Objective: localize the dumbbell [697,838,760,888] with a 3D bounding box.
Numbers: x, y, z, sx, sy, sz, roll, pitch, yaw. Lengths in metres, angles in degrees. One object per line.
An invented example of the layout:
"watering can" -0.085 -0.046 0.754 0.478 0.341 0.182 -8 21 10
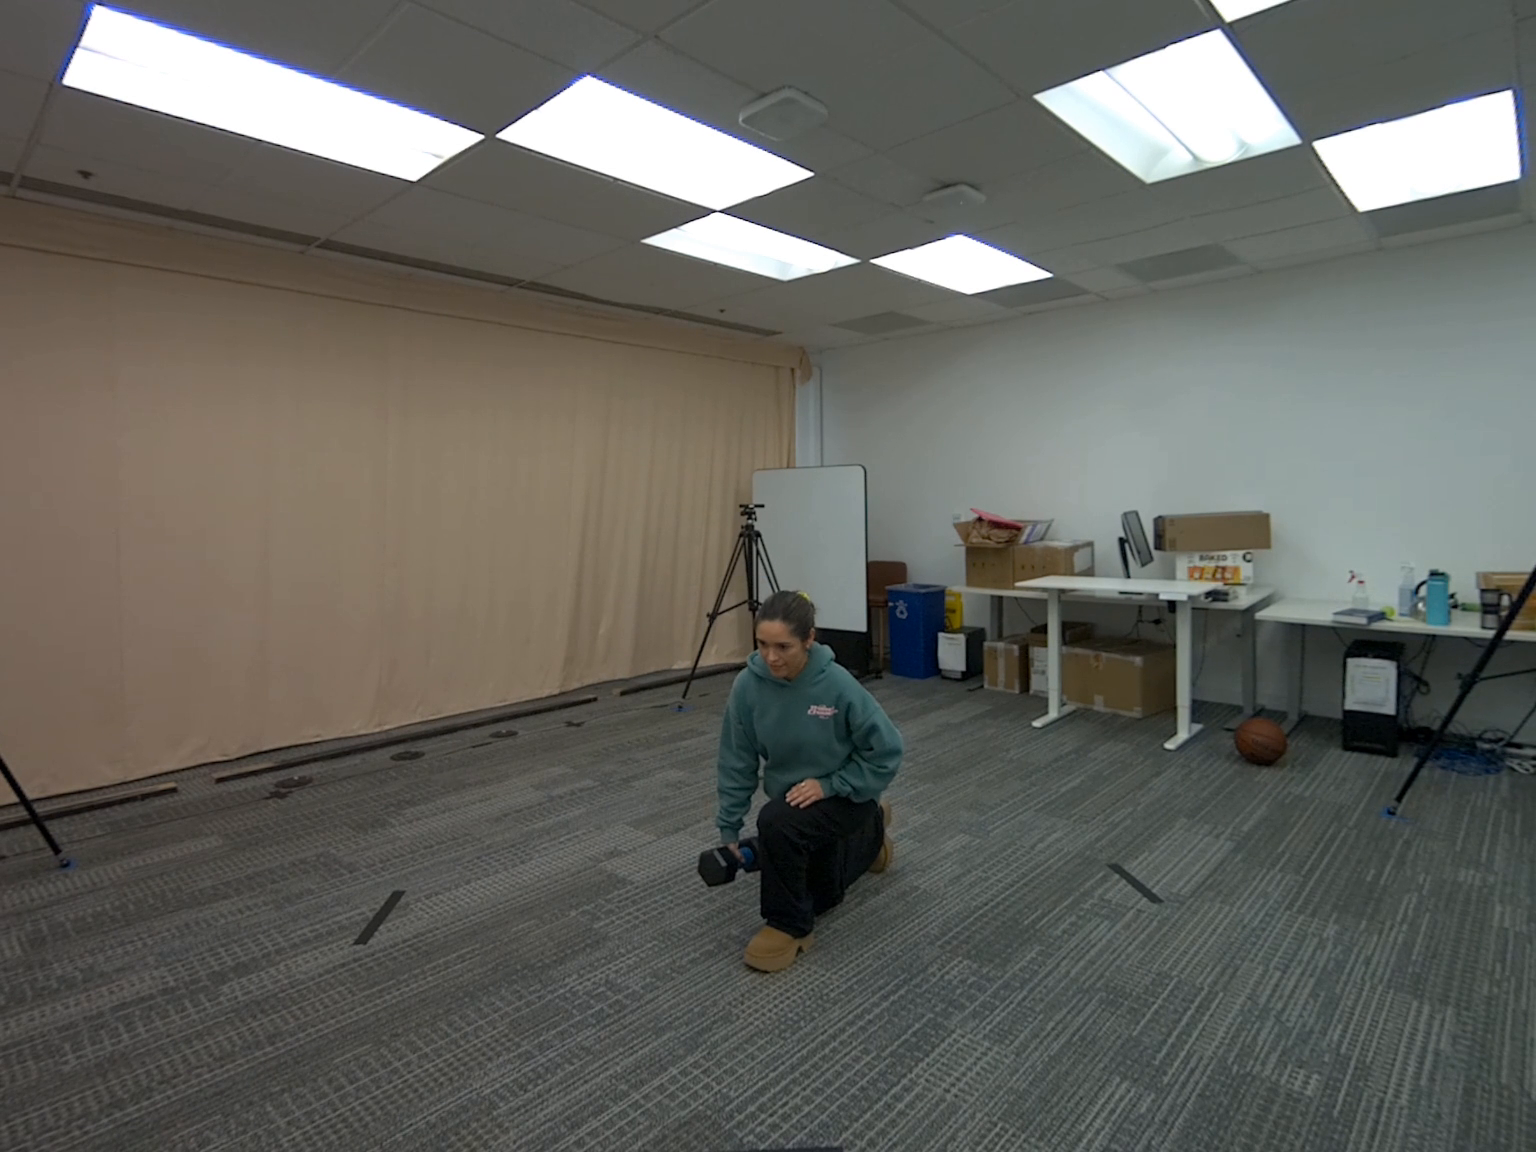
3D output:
"dumbbell" -0.100 0.915 2.726 0.127 0.109 0.284 46 20 29
